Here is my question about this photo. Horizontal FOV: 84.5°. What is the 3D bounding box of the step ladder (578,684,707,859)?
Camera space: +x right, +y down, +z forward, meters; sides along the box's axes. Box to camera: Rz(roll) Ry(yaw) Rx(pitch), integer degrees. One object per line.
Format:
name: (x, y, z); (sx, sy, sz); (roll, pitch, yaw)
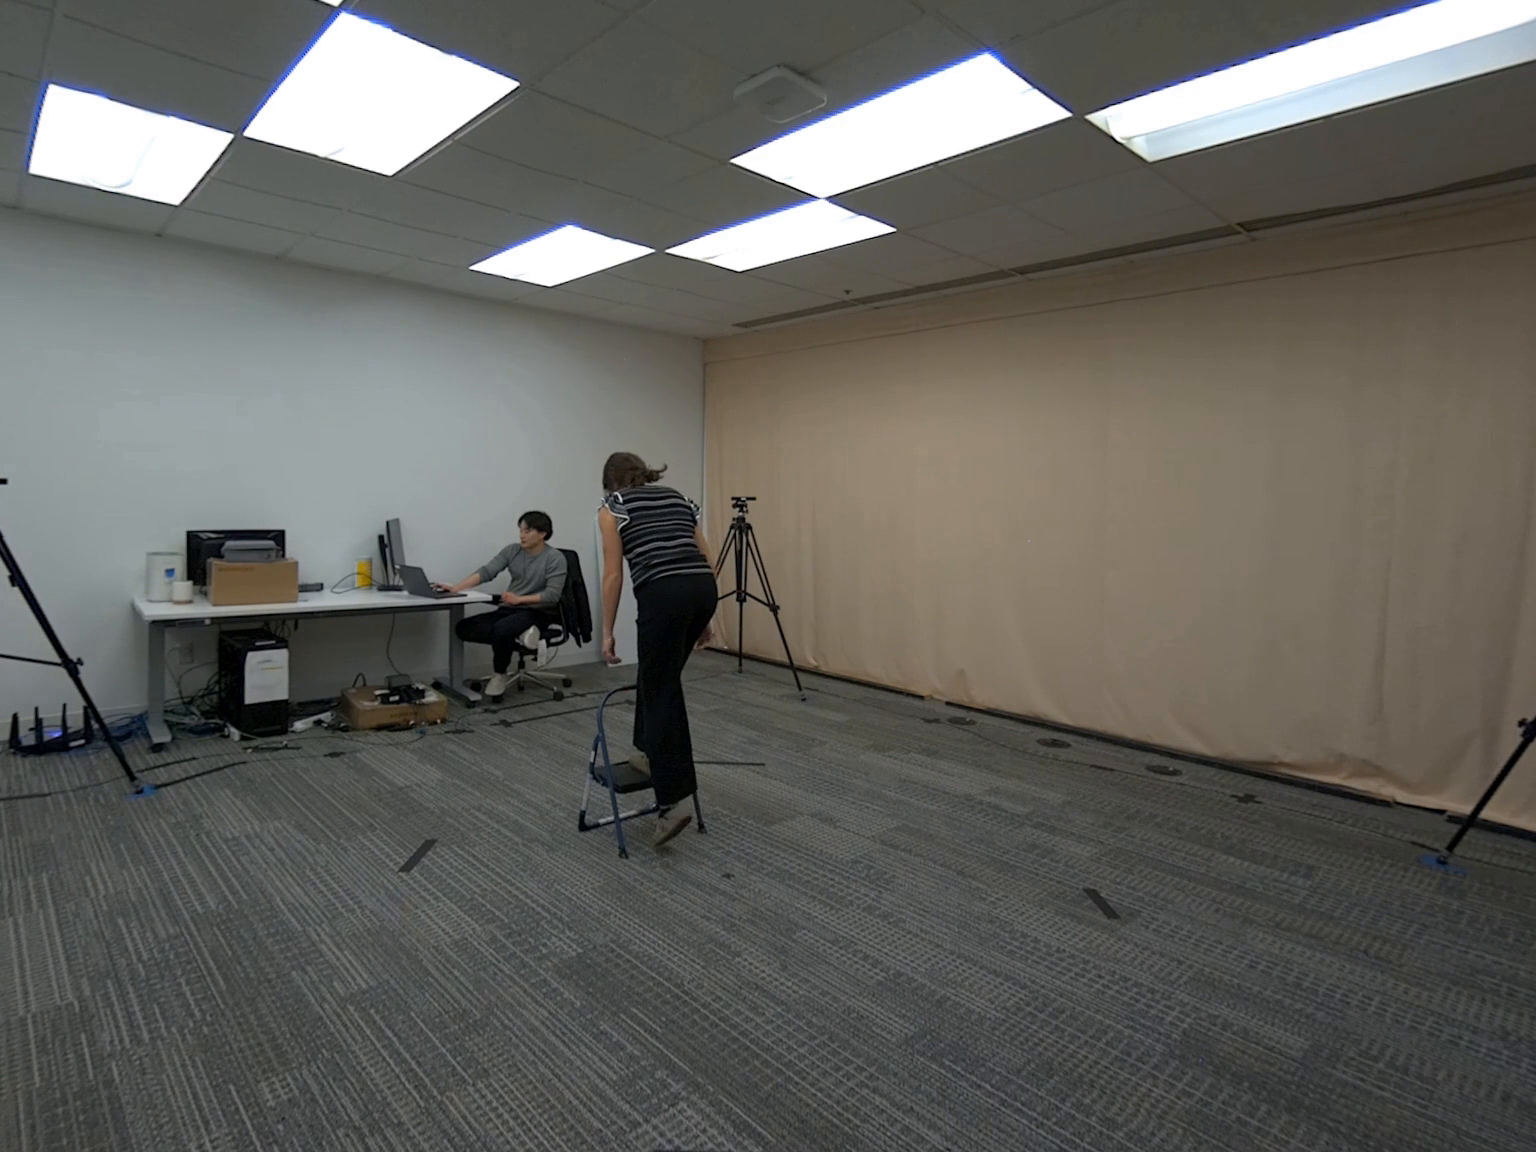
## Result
step ladder: (-0.524, 0.763, 3.488); (0.421, 0.605, 0.358); (-2, 4, -44)
